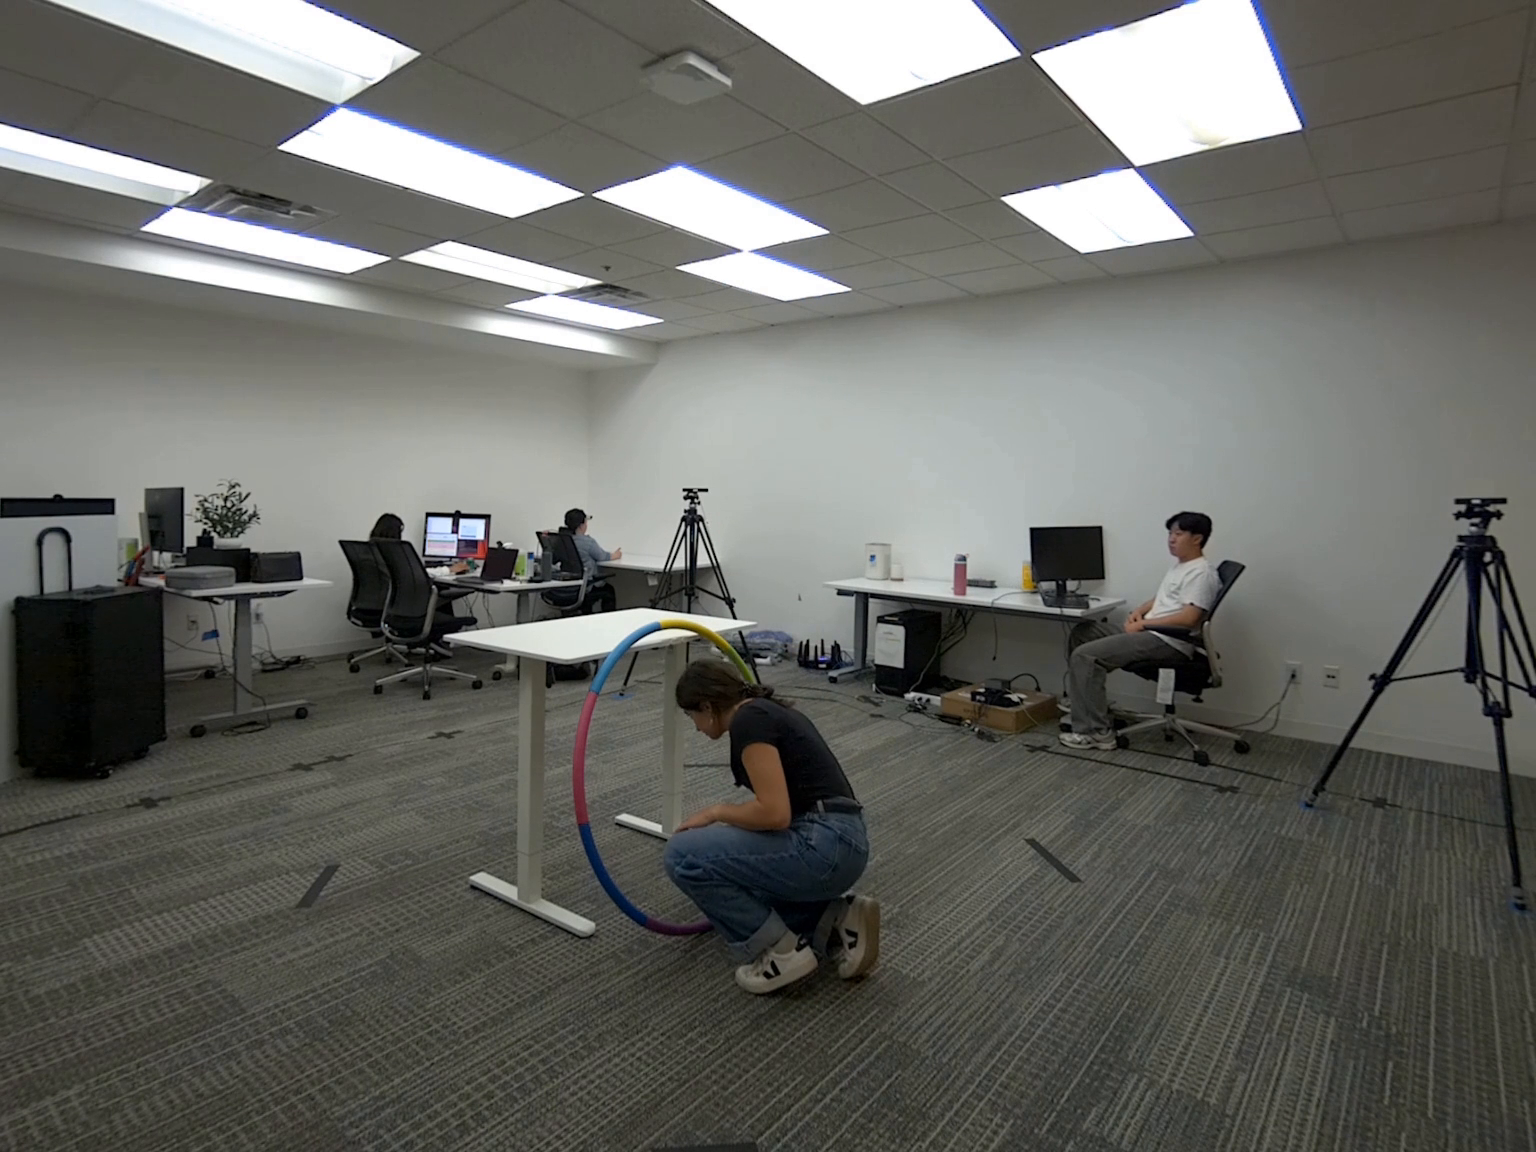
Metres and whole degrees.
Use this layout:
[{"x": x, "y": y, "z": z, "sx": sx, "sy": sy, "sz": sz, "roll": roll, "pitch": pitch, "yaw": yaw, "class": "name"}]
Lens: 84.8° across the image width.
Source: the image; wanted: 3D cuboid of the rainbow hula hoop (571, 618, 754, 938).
[{"x": -0.246, "y": 0.621, "z": 2.753, "sx": 0.036, "sy": 0.985, "sz": 0.951, "roll": -16, "pitch": -6, "yaw": 35, "class": "rainbow hula hoop"}]
